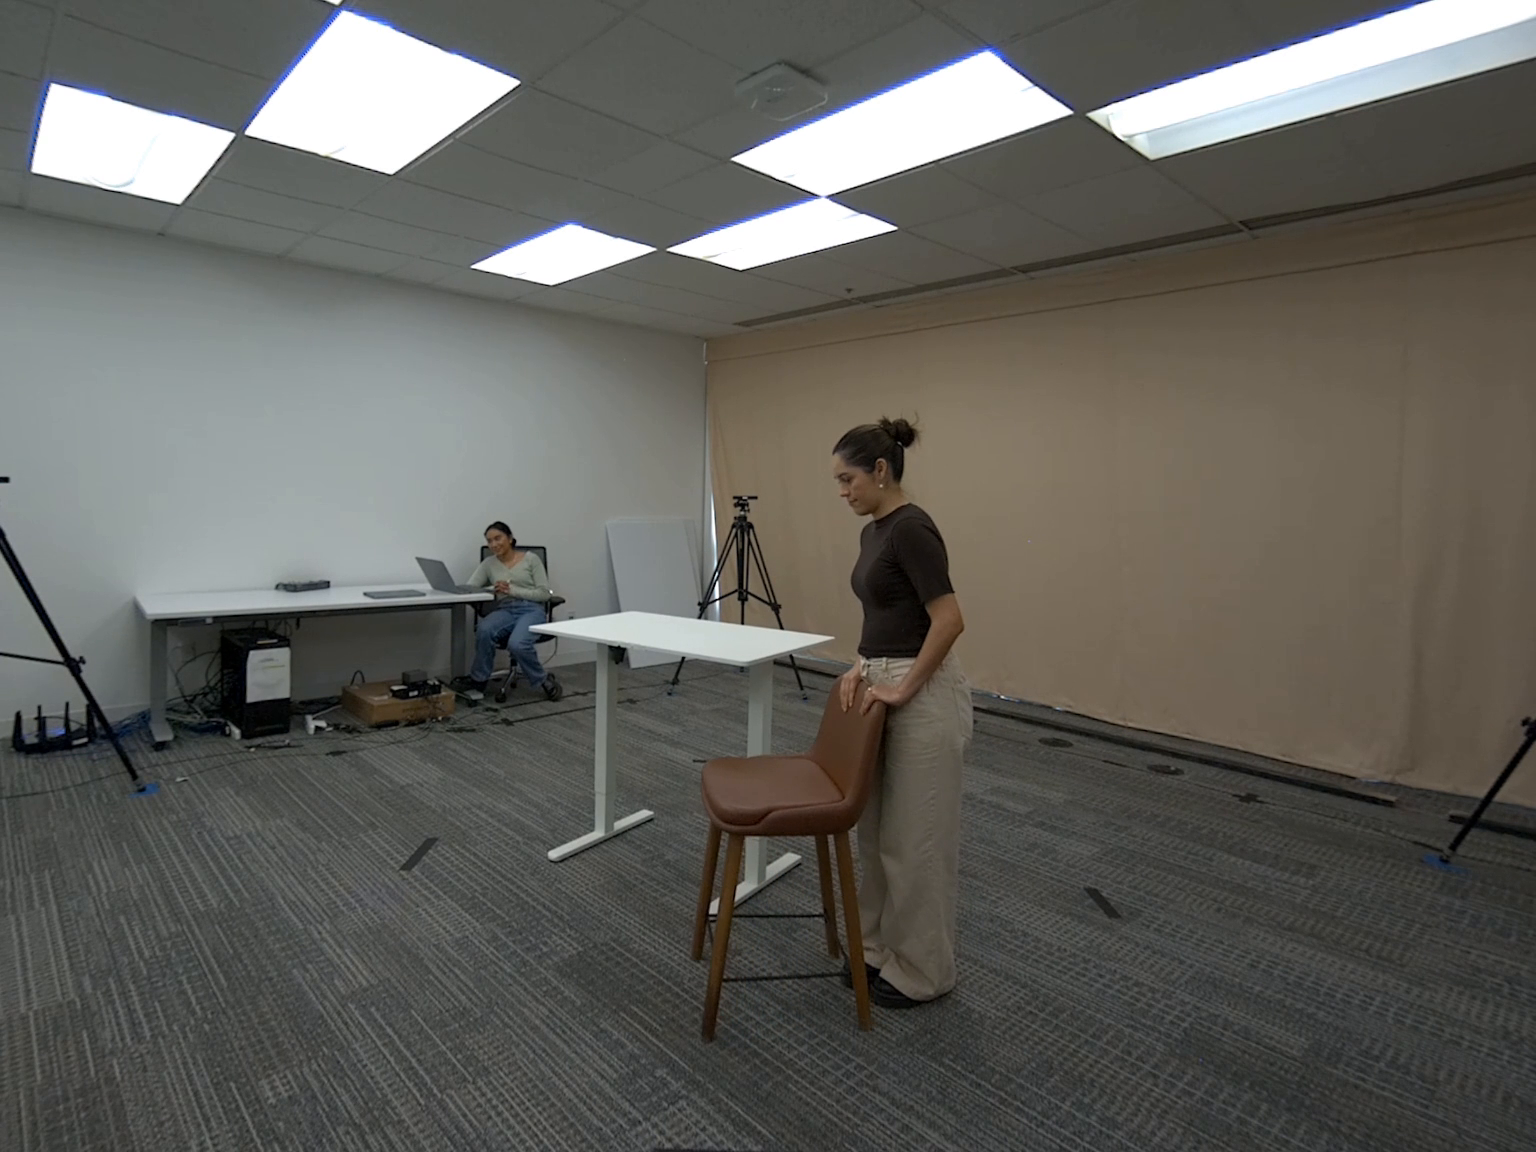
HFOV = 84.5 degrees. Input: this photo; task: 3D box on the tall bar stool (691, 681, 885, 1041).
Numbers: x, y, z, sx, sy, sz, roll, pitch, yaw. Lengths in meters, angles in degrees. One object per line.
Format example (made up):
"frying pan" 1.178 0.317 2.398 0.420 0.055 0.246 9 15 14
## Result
"tall bar stool" 0.041 0.743 2.342 0.465 0.887 0.461 3 4 -8
